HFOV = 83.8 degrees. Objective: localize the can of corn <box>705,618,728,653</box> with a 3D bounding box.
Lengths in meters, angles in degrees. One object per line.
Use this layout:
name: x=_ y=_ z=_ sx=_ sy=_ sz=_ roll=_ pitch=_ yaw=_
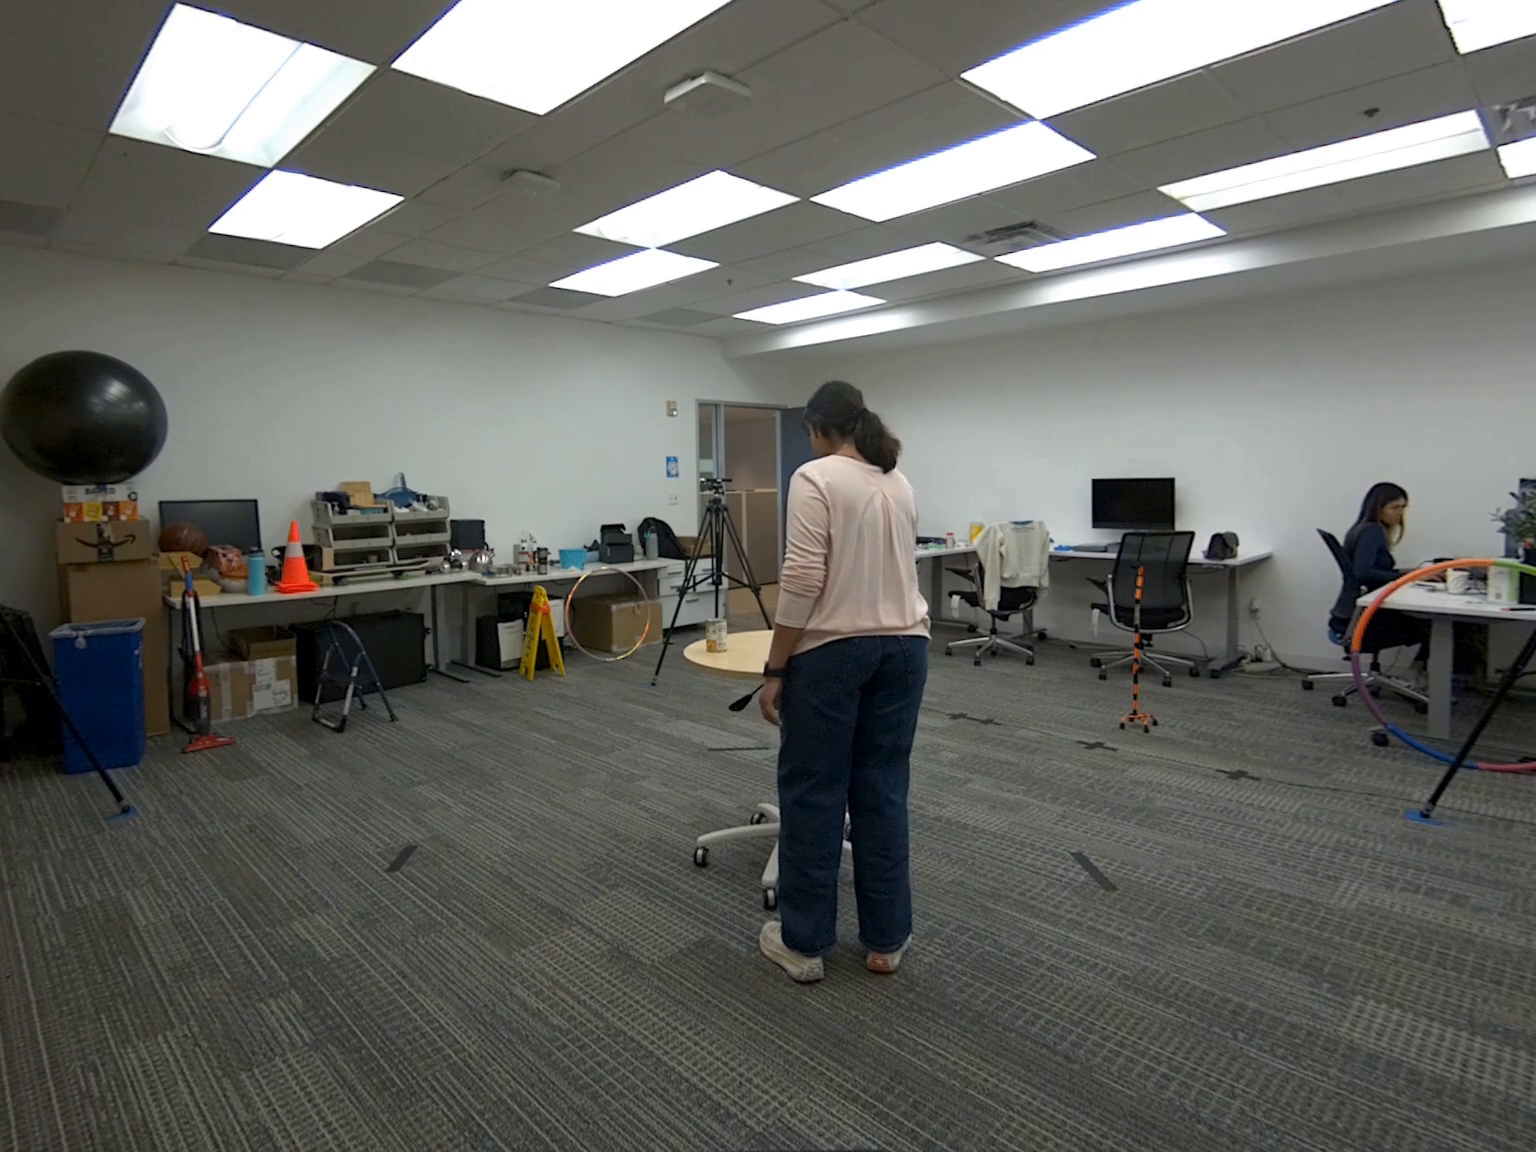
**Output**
can of corn: x=-0.181 y=0.216 z=3.065 sx=0.074 sy=0.110 sz=0.074 roll=-1 pitch=6 yaw=-2
